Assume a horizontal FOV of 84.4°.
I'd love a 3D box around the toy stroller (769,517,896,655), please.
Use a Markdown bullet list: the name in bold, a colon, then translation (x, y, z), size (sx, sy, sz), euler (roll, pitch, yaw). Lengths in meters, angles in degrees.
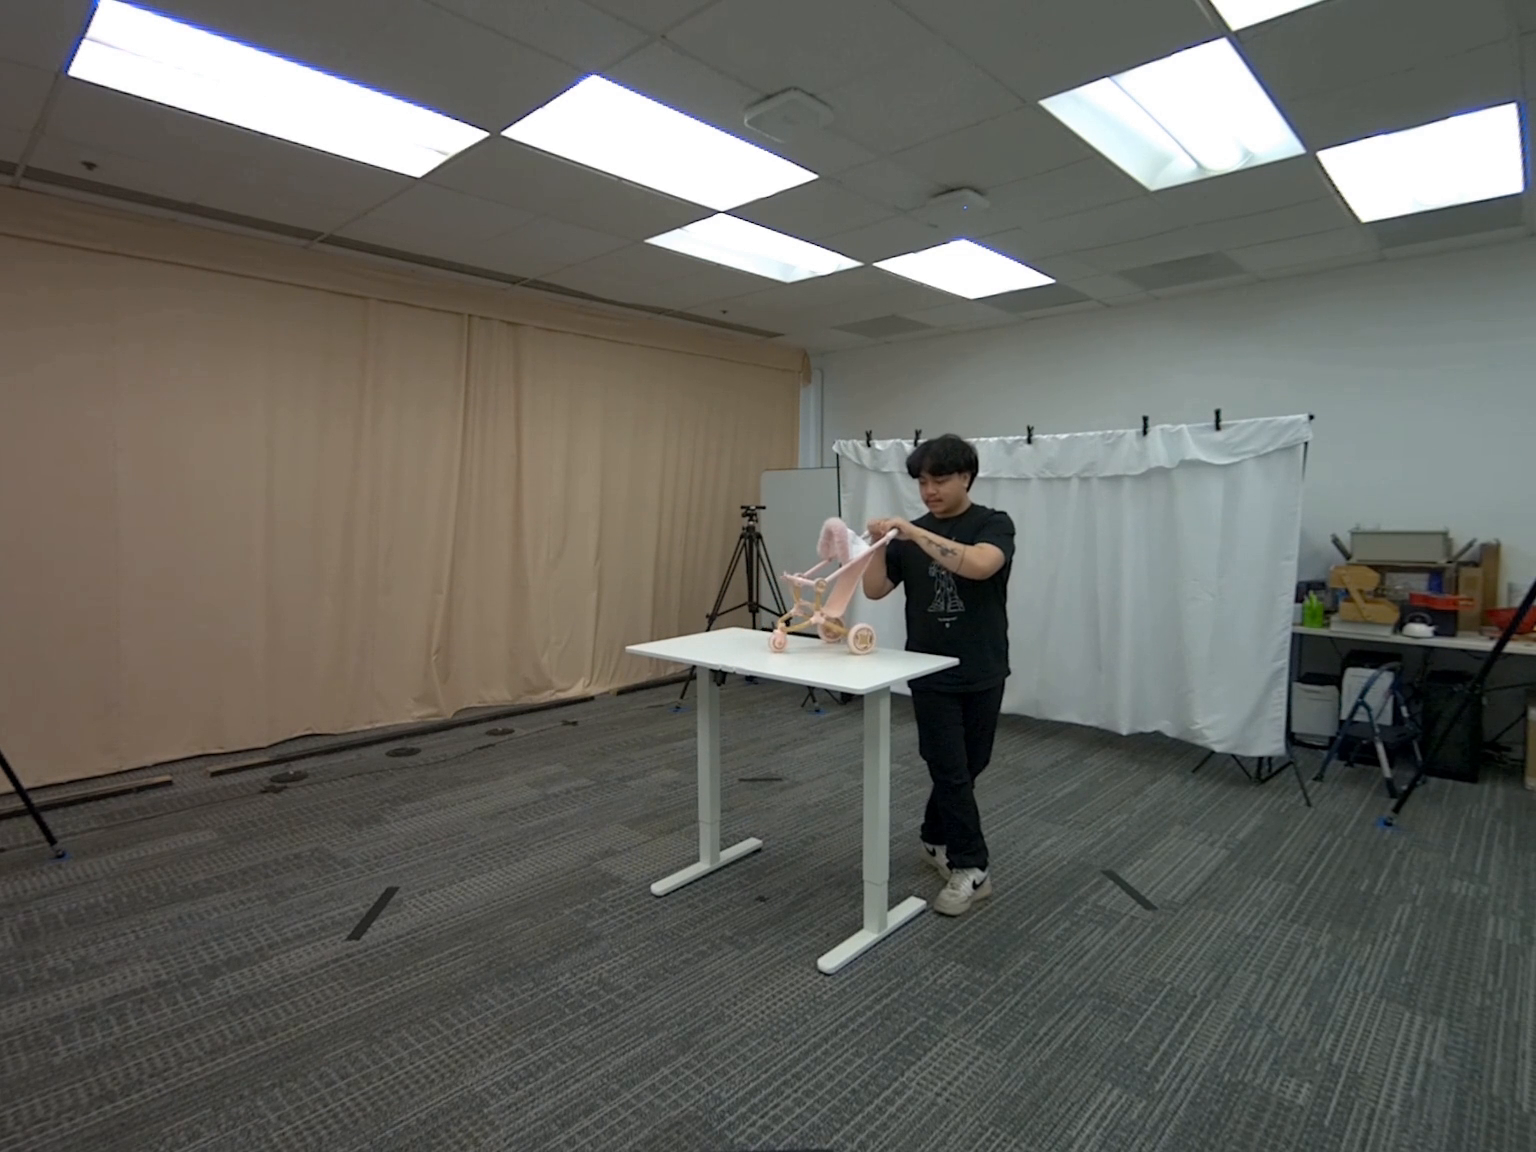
- **toy stroller**: translation (0.209, 0.039, 2.957), size (0.336, 0.535, 0.286), euler (14, 0, -14)
